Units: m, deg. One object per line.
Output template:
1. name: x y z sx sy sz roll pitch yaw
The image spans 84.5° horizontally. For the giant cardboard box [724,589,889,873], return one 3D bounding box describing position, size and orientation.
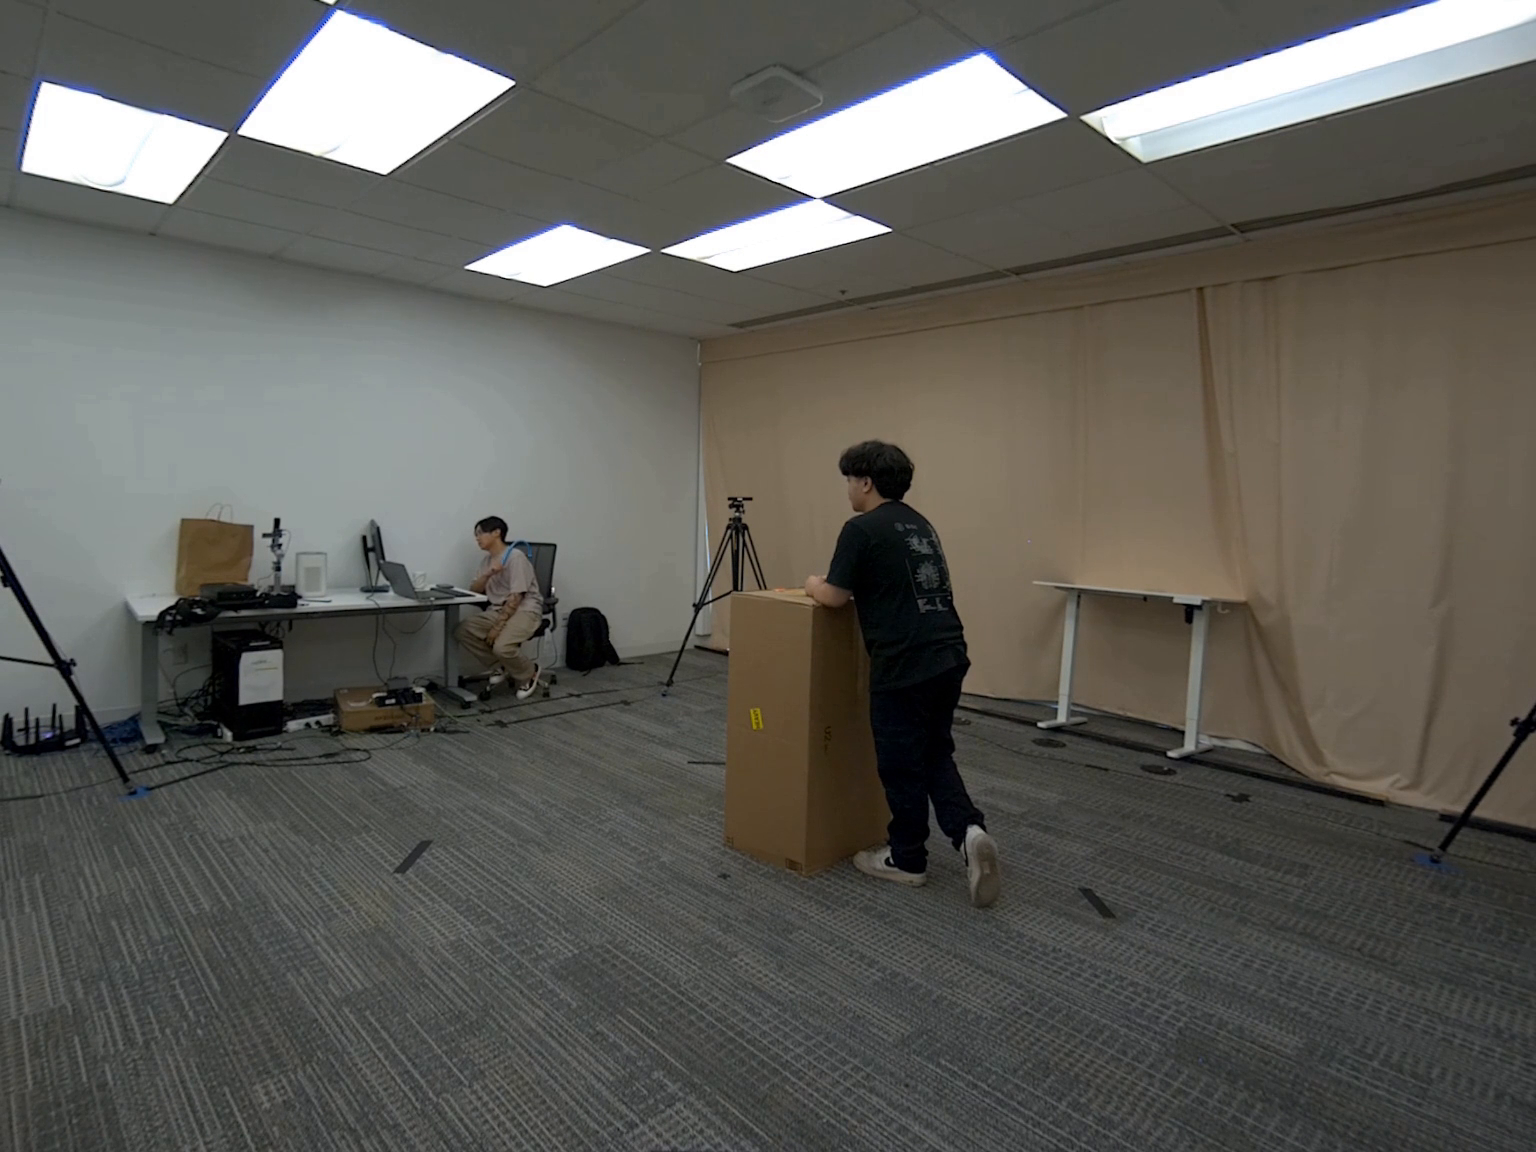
1. giant cardboard box: 0.171 0.577 3.439 0.458 1.025 0.570 4 3 44
